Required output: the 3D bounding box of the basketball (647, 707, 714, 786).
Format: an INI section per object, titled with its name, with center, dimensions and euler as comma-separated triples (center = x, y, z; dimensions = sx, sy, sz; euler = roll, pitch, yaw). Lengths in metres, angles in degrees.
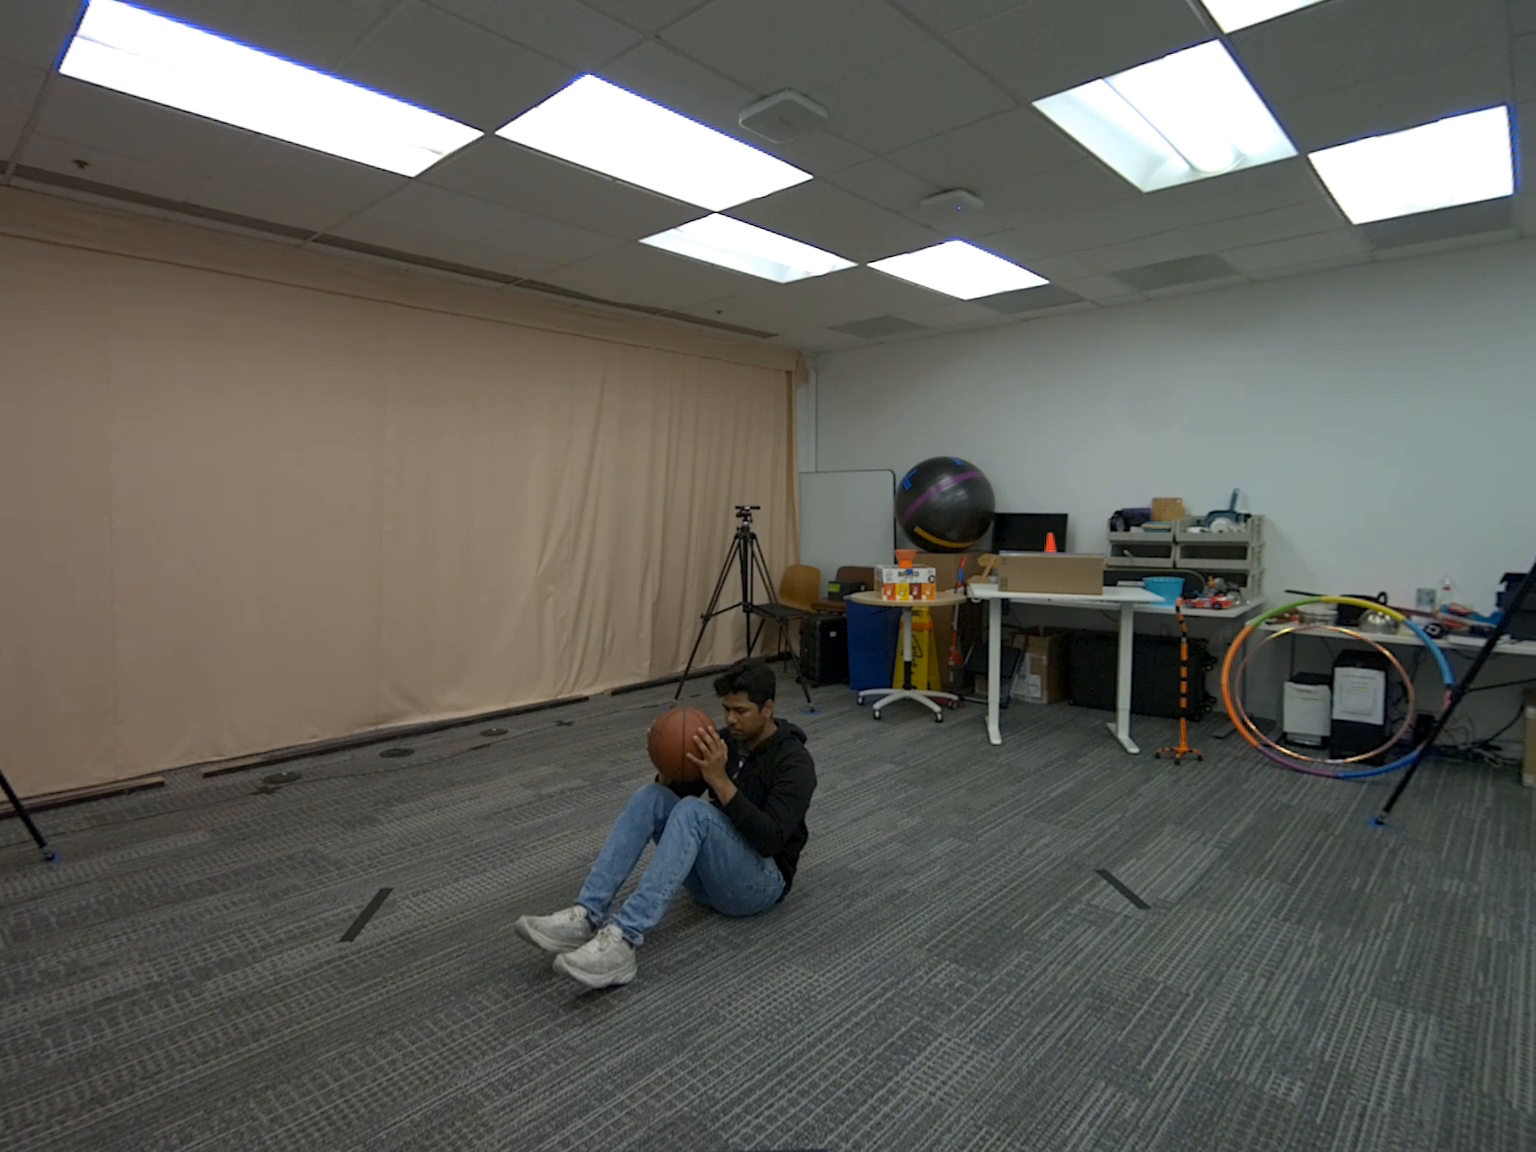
[basketball]
center = -0.265, 0.543, 2.769
dimensions = 0.236, 0.235, 0.237
euler = 0, 4, -2
